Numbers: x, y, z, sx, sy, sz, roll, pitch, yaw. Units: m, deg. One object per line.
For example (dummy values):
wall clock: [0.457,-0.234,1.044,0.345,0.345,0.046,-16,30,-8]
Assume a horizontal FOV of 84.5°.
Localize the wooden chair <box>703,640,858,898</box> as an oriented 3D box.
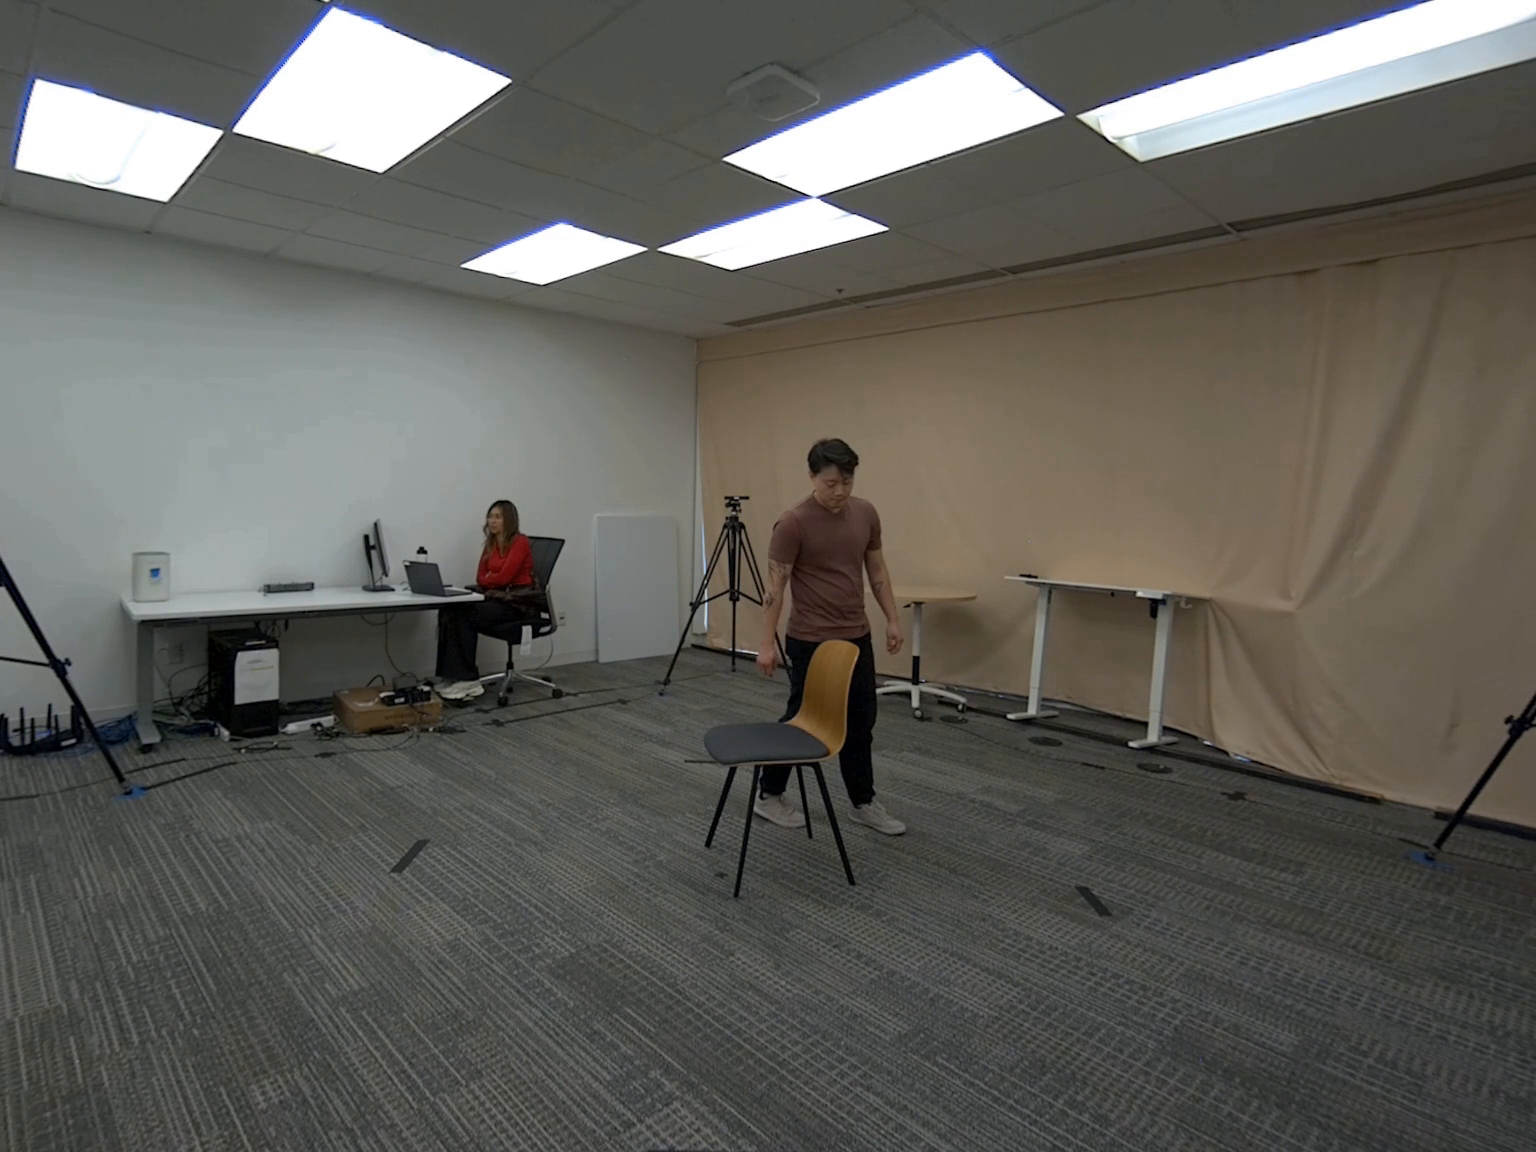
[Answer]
wooden chair: [0.030,0.677,3.164,0.516,0.876,0.485,5,3,-17]
